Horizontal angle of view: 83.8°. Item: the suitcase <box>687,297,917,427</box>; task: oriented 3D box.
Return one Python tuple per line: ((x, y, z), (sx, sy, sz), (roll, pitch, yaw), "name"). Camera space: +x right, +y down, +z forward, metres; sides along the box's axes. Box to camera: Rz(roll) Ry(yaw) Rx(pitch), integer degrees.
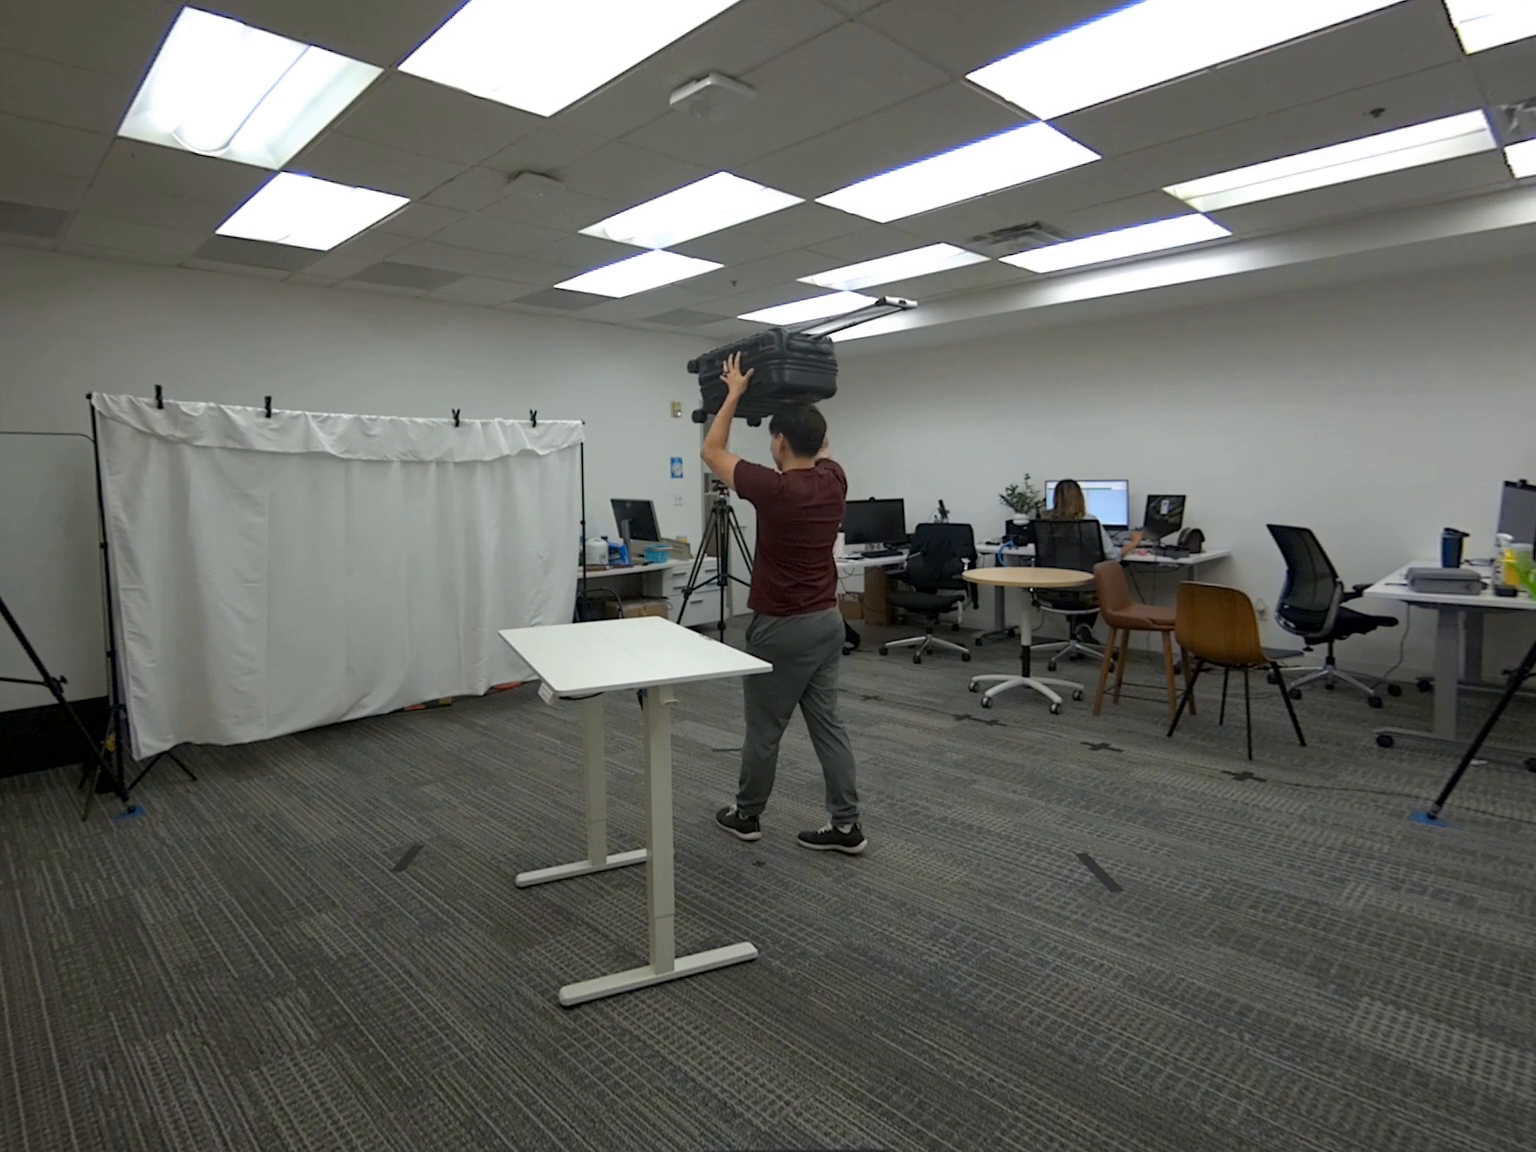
((0.122, -0.791, 3.204), (0.374, 0.257, 1.004), (-4, 1, -40), "suitcase")
